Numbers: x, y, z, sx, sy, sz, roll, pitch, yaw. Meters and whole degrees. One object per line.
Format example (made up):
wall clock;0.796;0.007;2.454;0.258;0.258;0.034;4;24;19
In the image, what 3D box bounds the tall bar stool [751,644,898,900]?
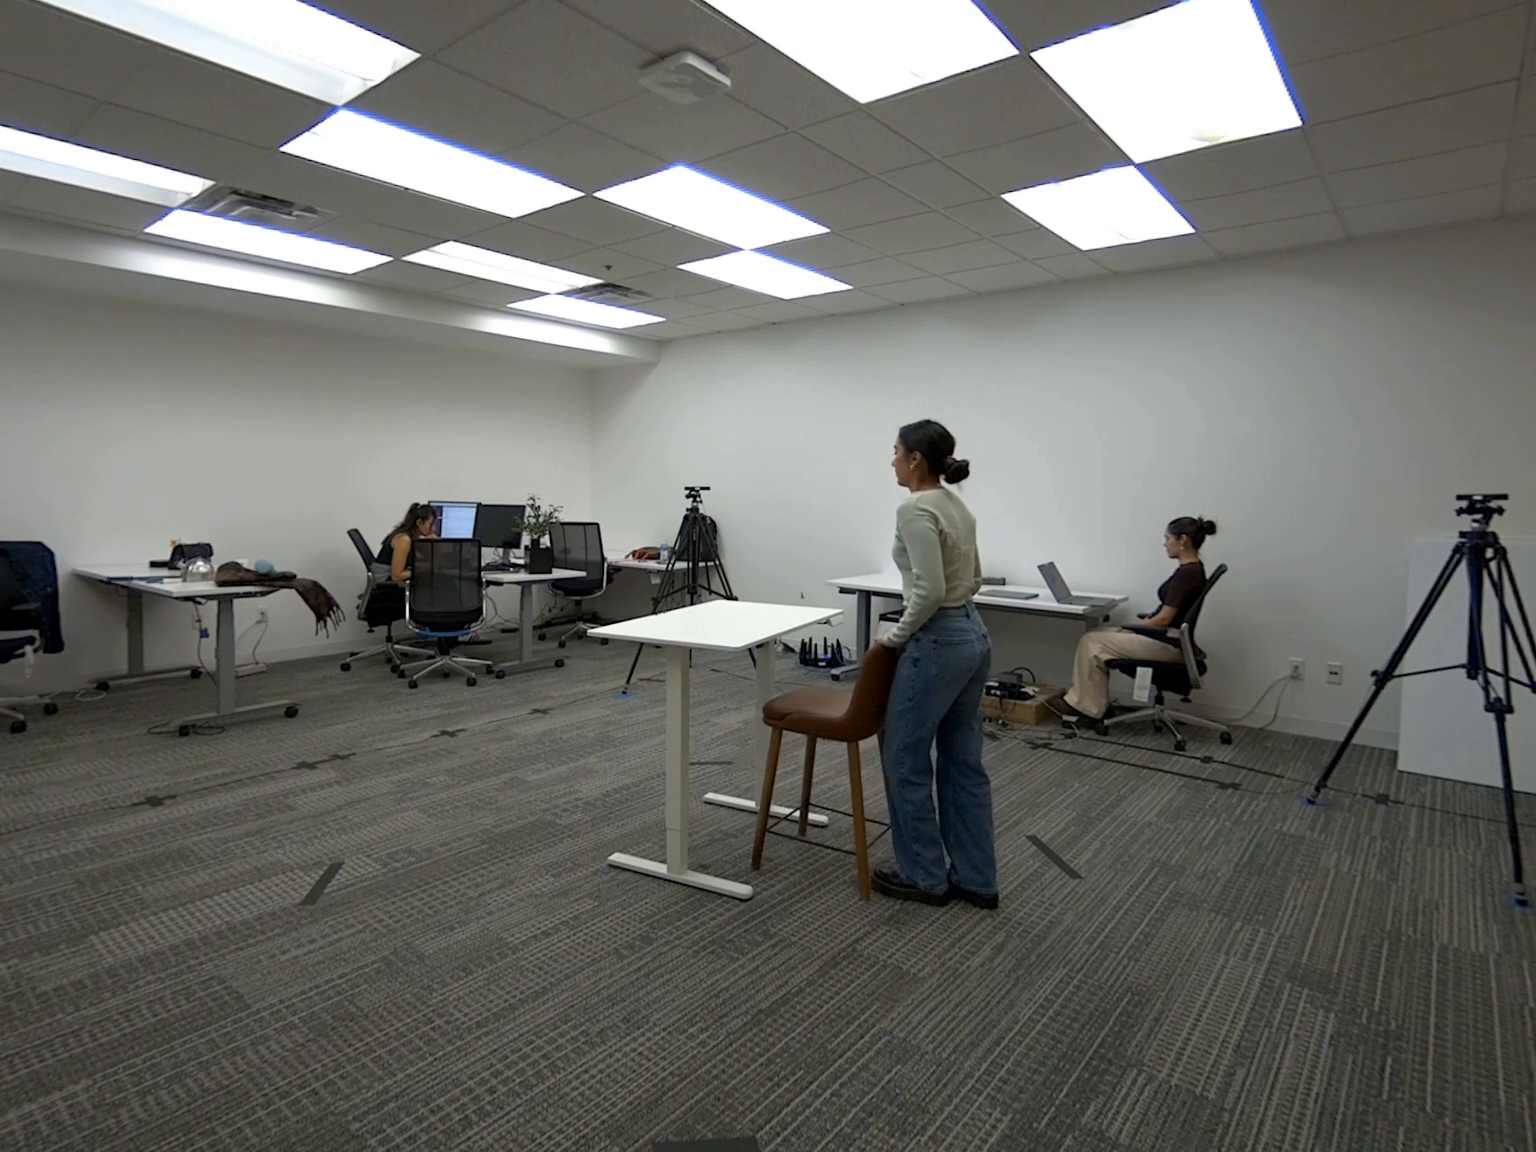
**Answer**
tall bar stool;0.243;0.633;3.132;0.482;0.887;0.444;6;5;31
